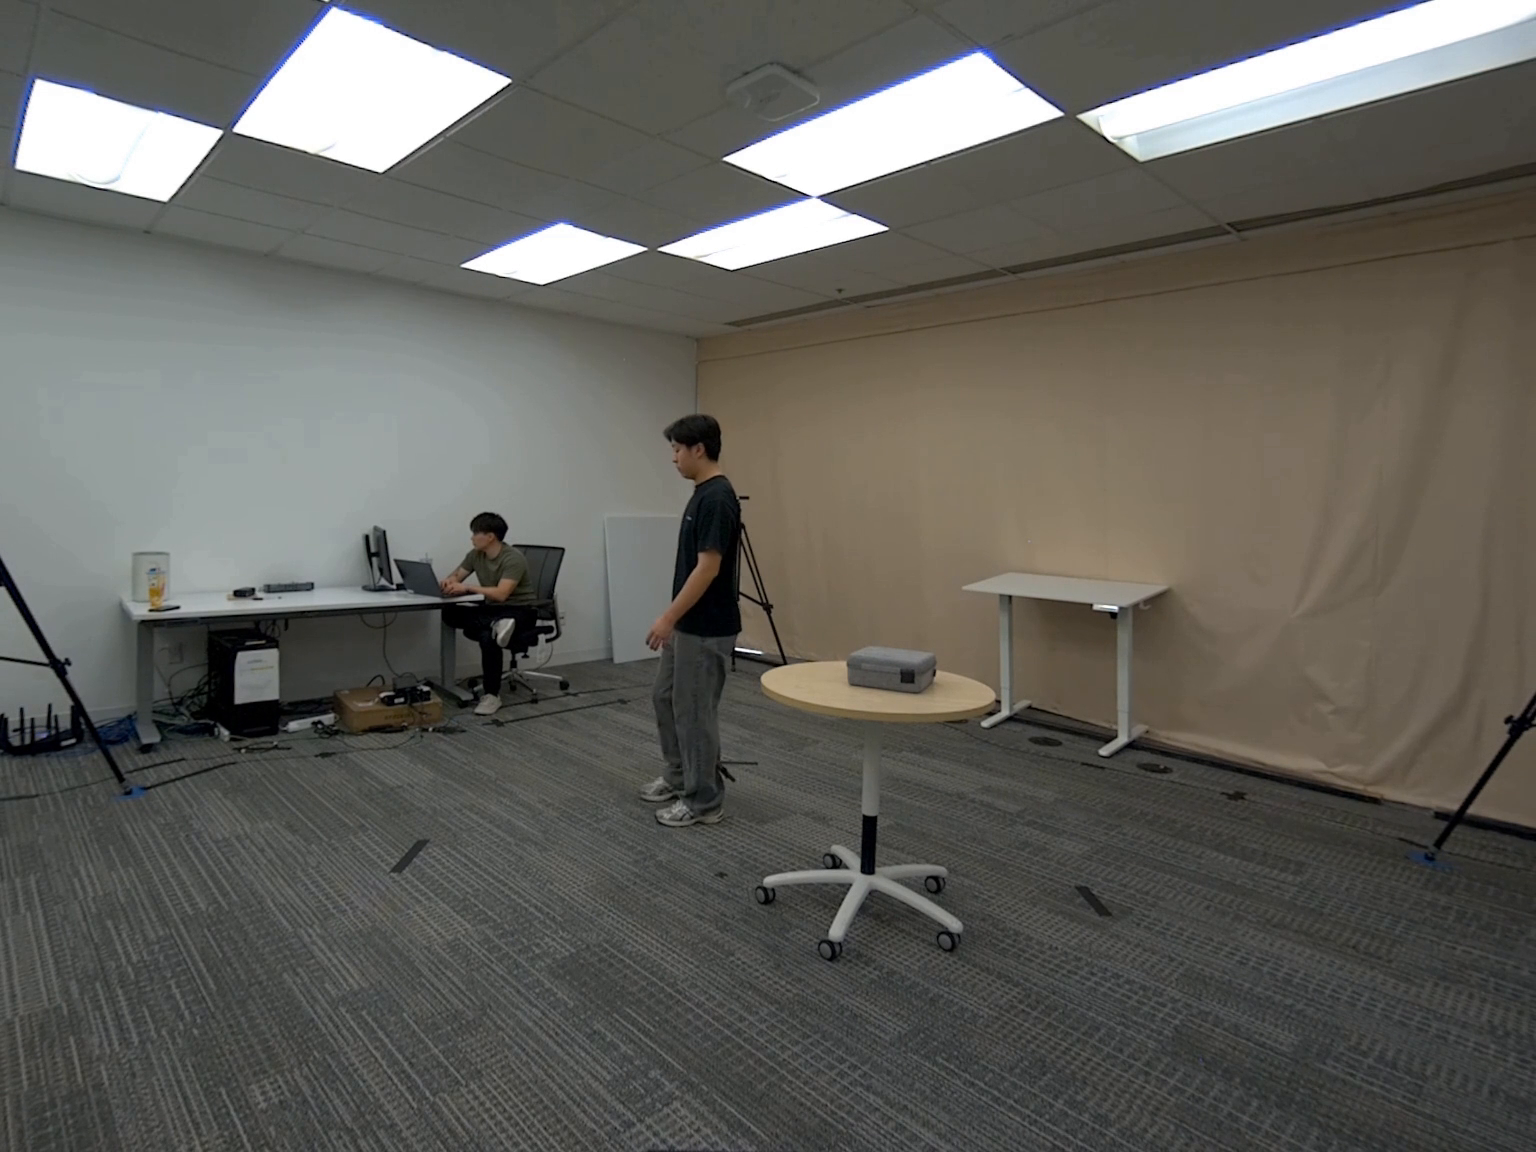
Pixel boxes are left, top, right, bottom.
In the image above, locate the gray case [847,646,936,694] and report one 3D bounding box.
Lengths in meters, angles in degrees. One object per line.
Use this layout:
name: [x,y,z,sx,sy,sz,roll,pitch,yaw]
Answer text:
gray case: [0.414,0.312,2.829,0.268,0.103,0.282,4,5,24]
